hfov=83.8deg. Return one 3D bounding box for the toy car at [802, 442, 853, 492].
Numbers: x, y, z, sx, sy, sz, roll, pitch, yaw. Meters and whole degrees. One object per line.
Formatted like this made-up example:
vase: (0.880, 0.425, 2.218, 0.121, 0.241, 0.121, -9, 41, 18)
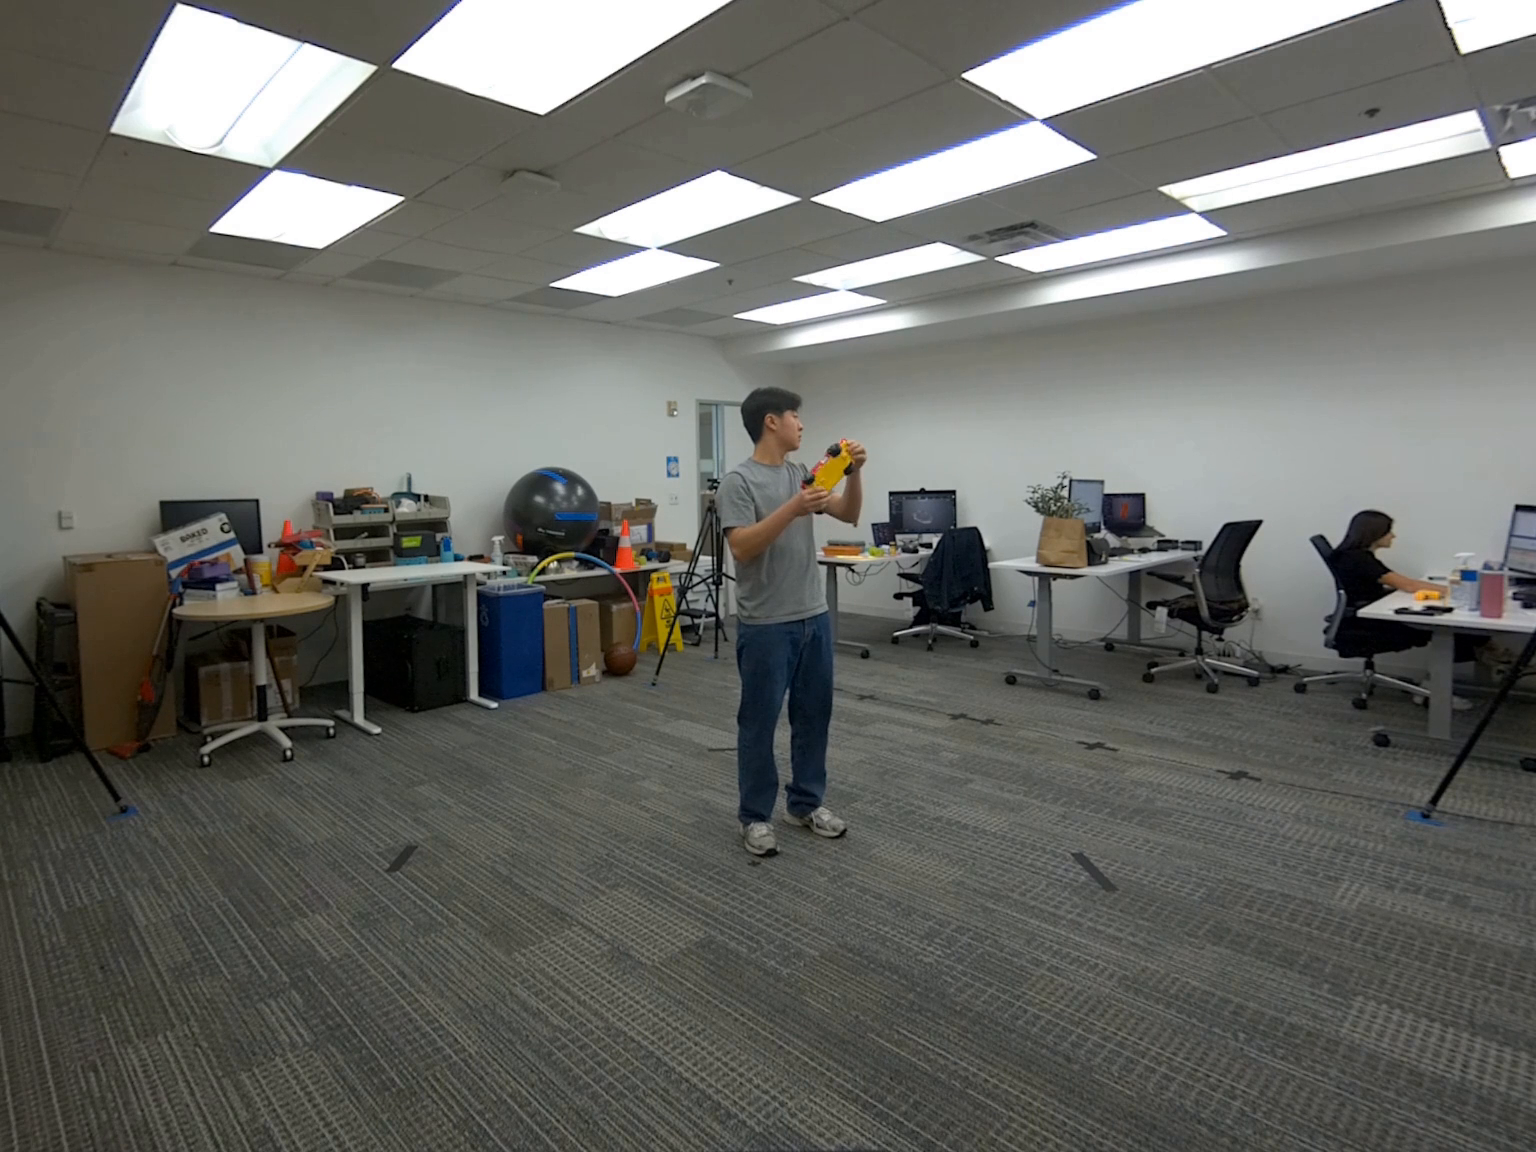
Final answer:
toy car: (0.220, -0.379, 3.005, 0.085, 0.126, 0.255, -2, 46, 54)
